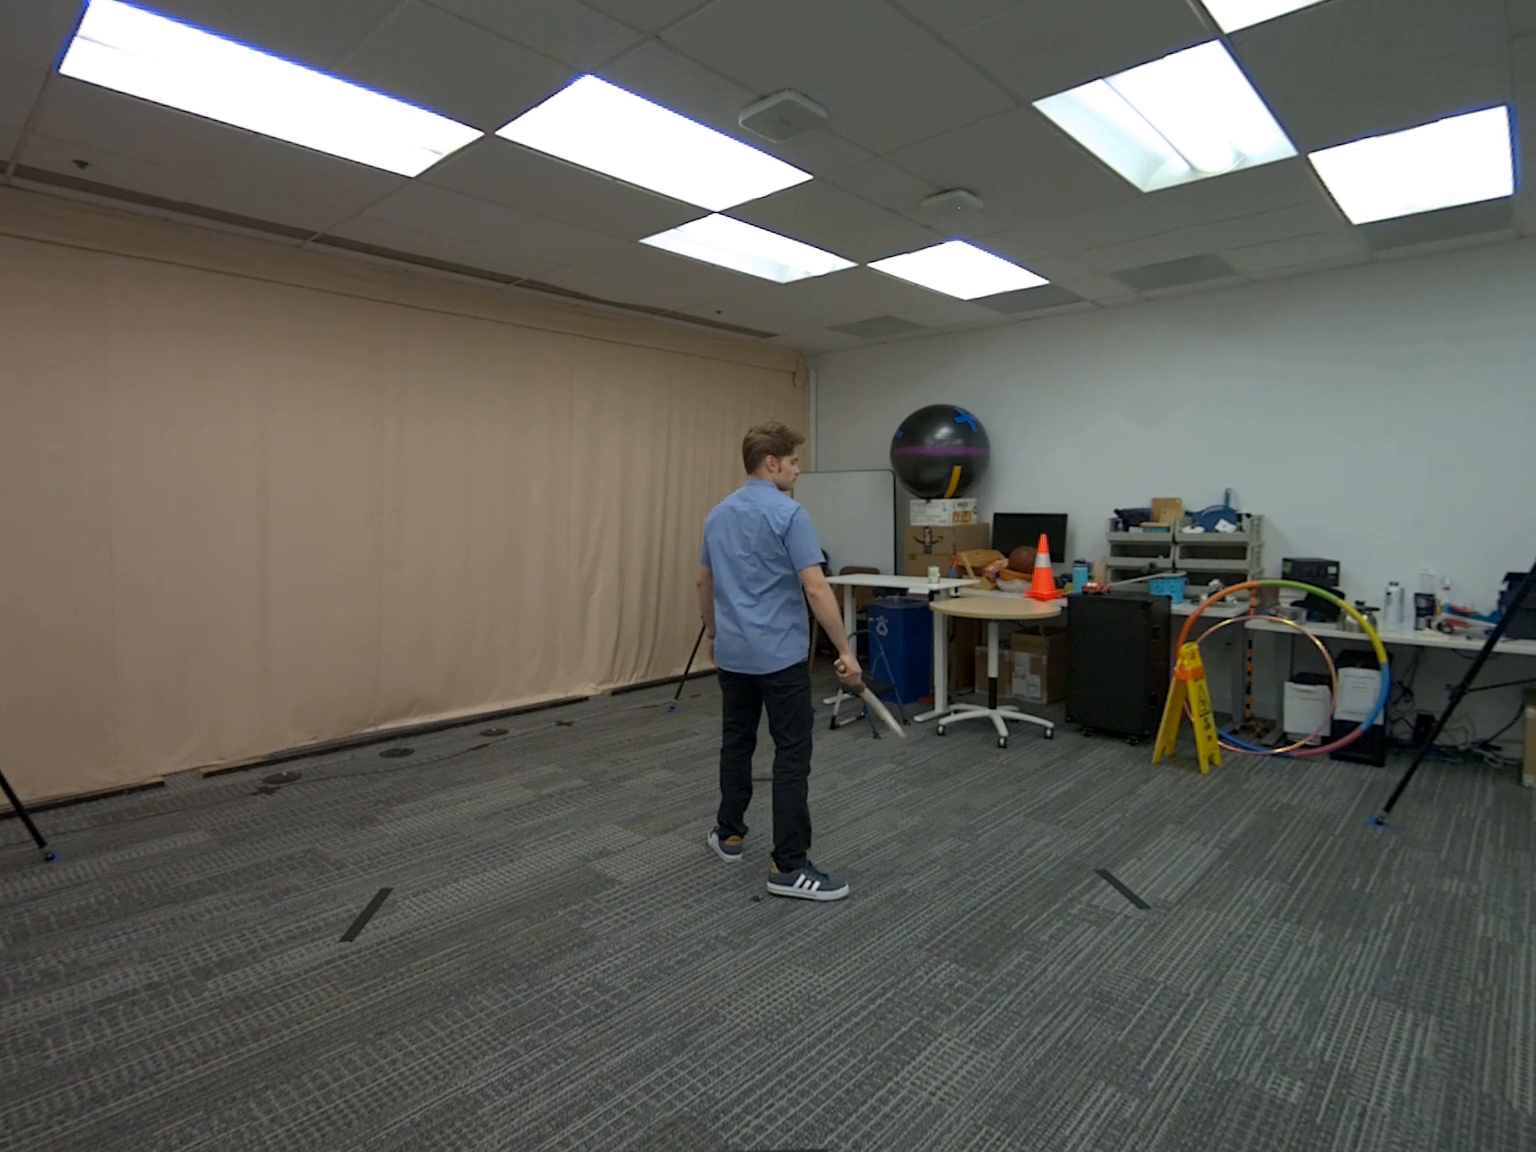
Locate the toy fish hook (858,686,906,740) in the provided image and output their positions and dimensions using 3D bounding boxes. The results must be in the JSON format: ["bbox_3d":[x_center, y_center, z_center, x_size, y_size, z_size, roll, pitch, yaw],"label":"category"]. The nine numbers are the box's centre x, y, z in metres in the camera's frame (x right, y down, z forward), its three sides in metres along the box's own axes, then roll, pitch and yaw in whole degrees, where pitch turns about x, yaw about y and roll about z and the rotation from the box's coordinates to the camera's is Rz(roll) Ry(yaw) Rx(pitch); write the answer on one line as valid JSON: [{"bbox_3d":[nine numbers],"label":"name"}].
[{"bbox_3d":[0.380,0.480,3.167,0.489,0.048,0.233,45,0,-44],"label":"toy fish hook"}]
